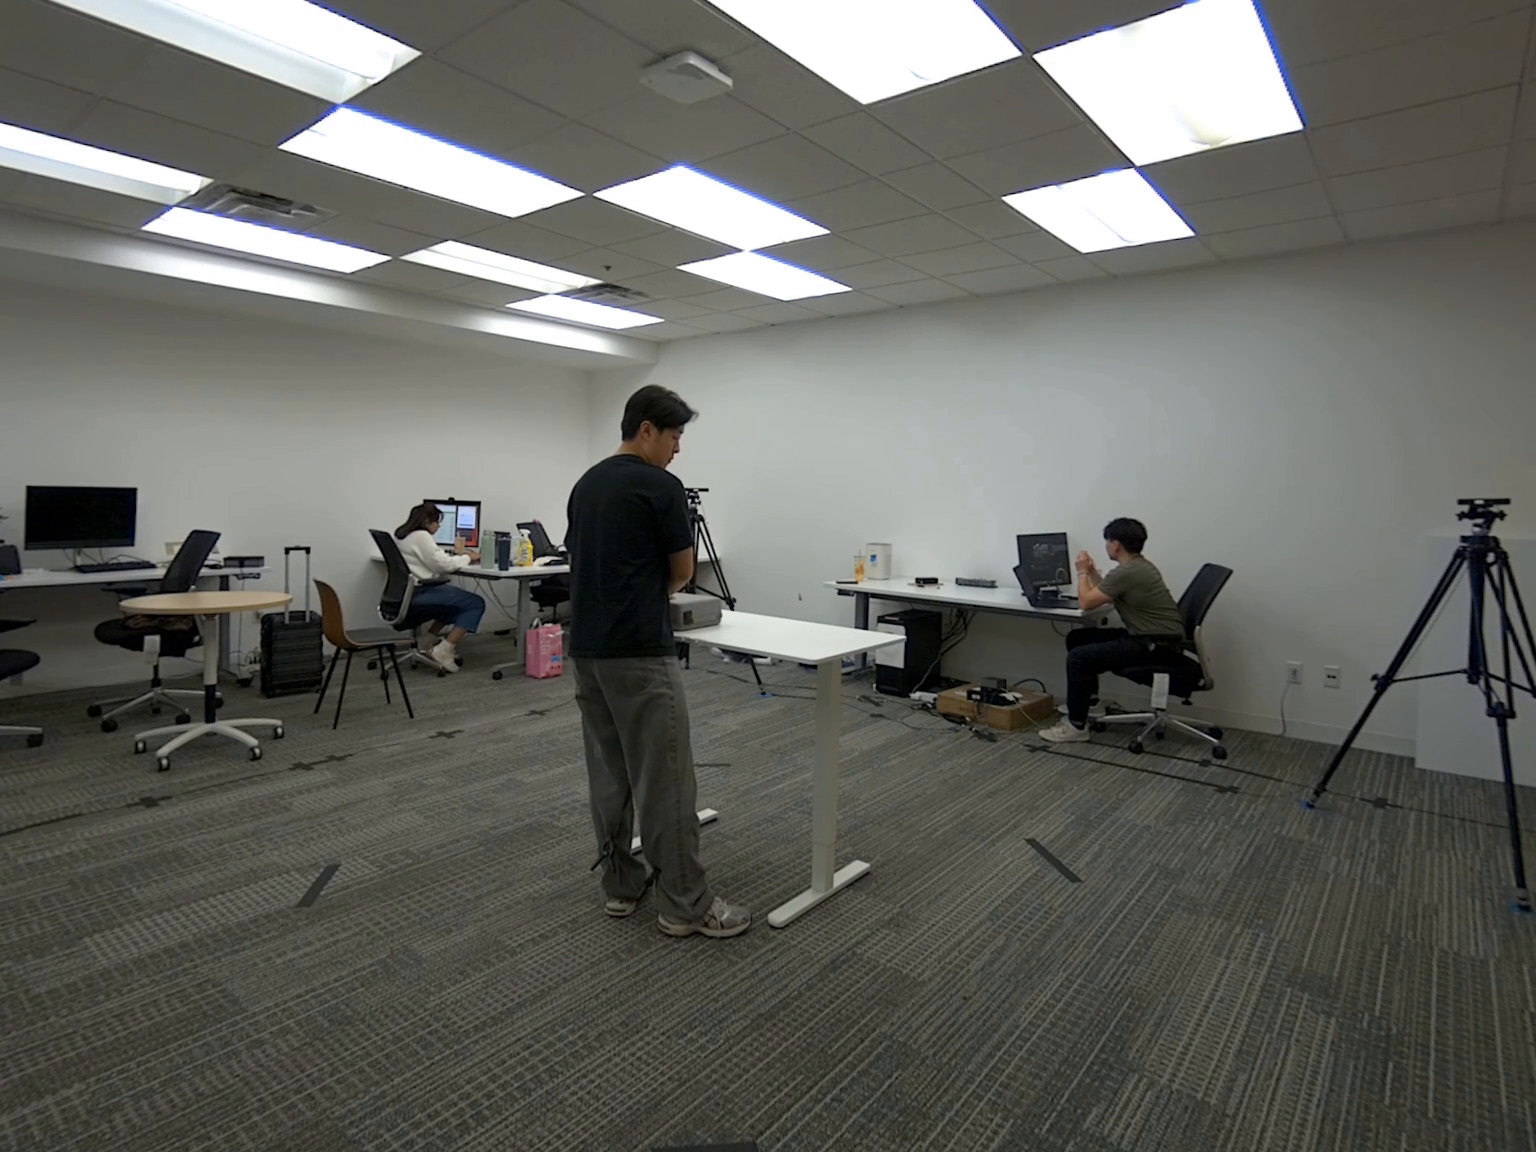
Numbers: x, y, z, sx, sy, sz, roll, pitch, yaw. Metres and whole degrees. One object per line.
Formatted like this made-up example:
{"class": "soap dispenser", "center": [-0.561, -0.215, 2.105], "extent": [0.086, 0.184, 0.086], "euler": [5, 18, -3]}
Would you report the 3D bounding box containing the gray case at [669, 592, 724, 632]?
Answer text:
{"class": "gray case", "center": [-0.340, 0.128, 3.166], "extent": [0.269, 0.104, 0.250], "euler": [5, 9, 36]}
